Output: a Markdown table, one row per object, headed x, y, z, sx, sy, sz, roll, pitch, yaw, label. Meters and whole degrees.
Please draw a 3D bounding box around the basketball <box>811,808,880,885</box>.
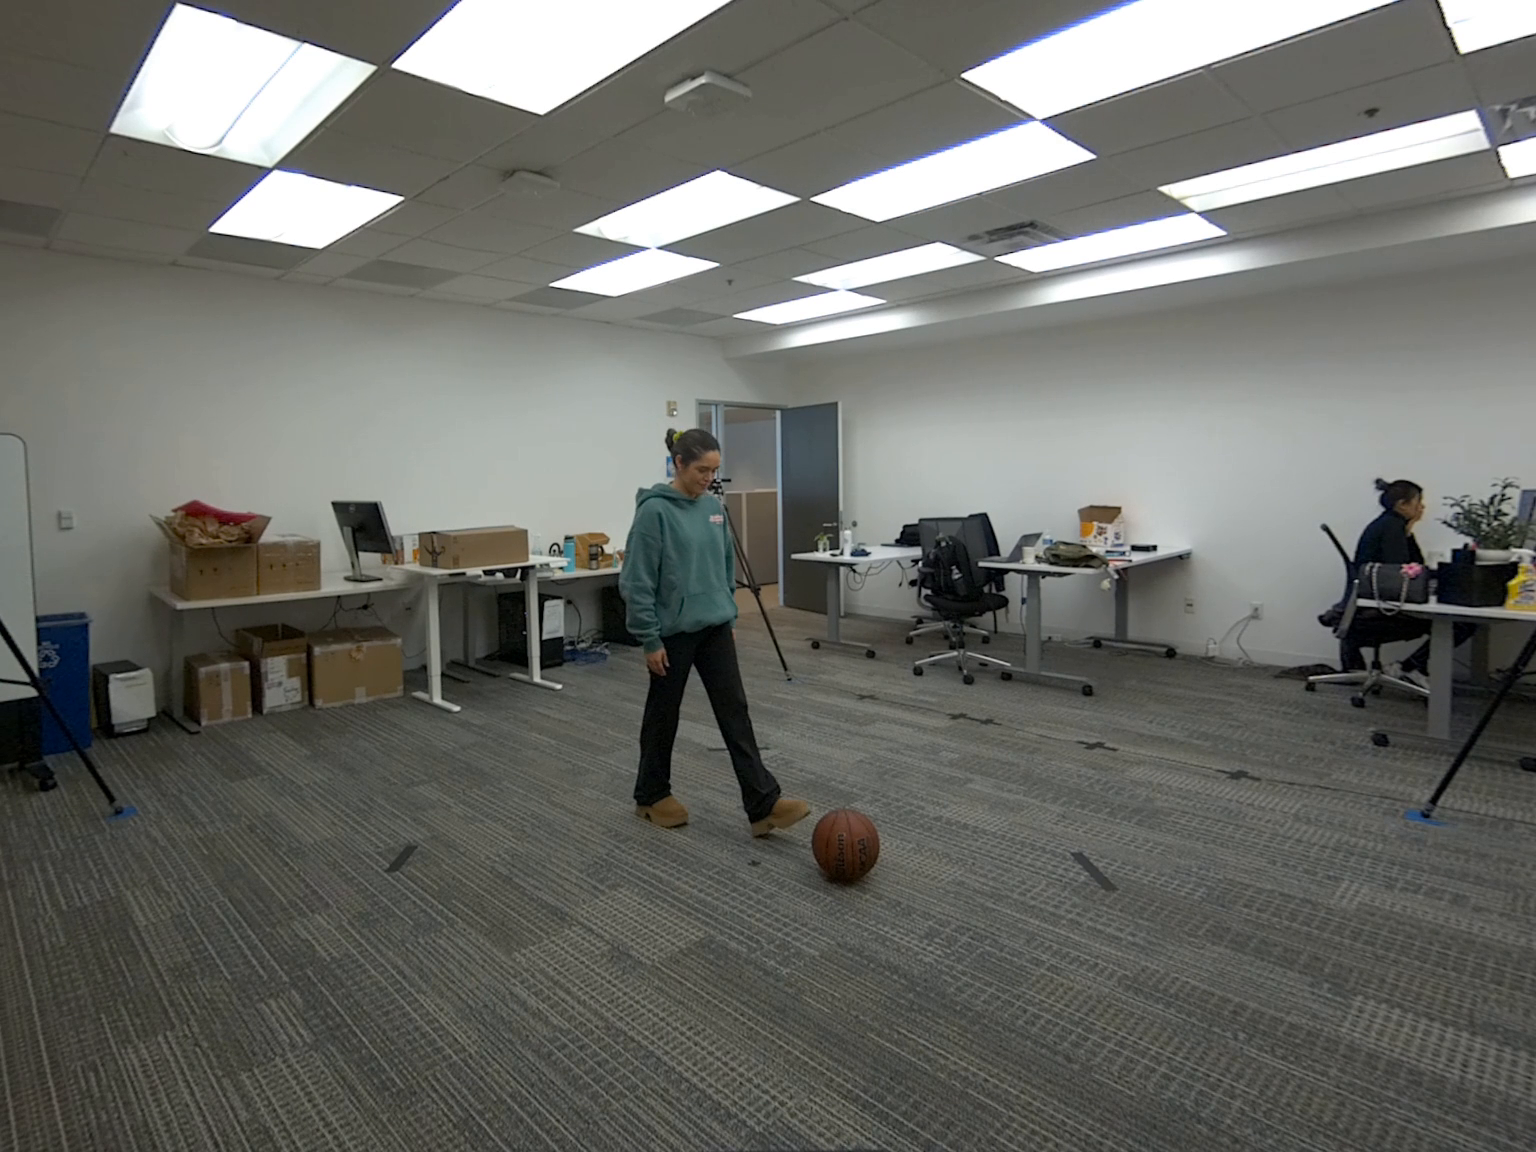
| x | y | z | sx | sy | sz | roll | pitch | yaw | label |
| --- | --- | --- | --- | --- | --- | --- | --- | --- | --- |
| 0.276 | 0.932 | 2.982 | 0.236 | 0.235 | 0.237 | -1 | 5 | -2 | basketball |
